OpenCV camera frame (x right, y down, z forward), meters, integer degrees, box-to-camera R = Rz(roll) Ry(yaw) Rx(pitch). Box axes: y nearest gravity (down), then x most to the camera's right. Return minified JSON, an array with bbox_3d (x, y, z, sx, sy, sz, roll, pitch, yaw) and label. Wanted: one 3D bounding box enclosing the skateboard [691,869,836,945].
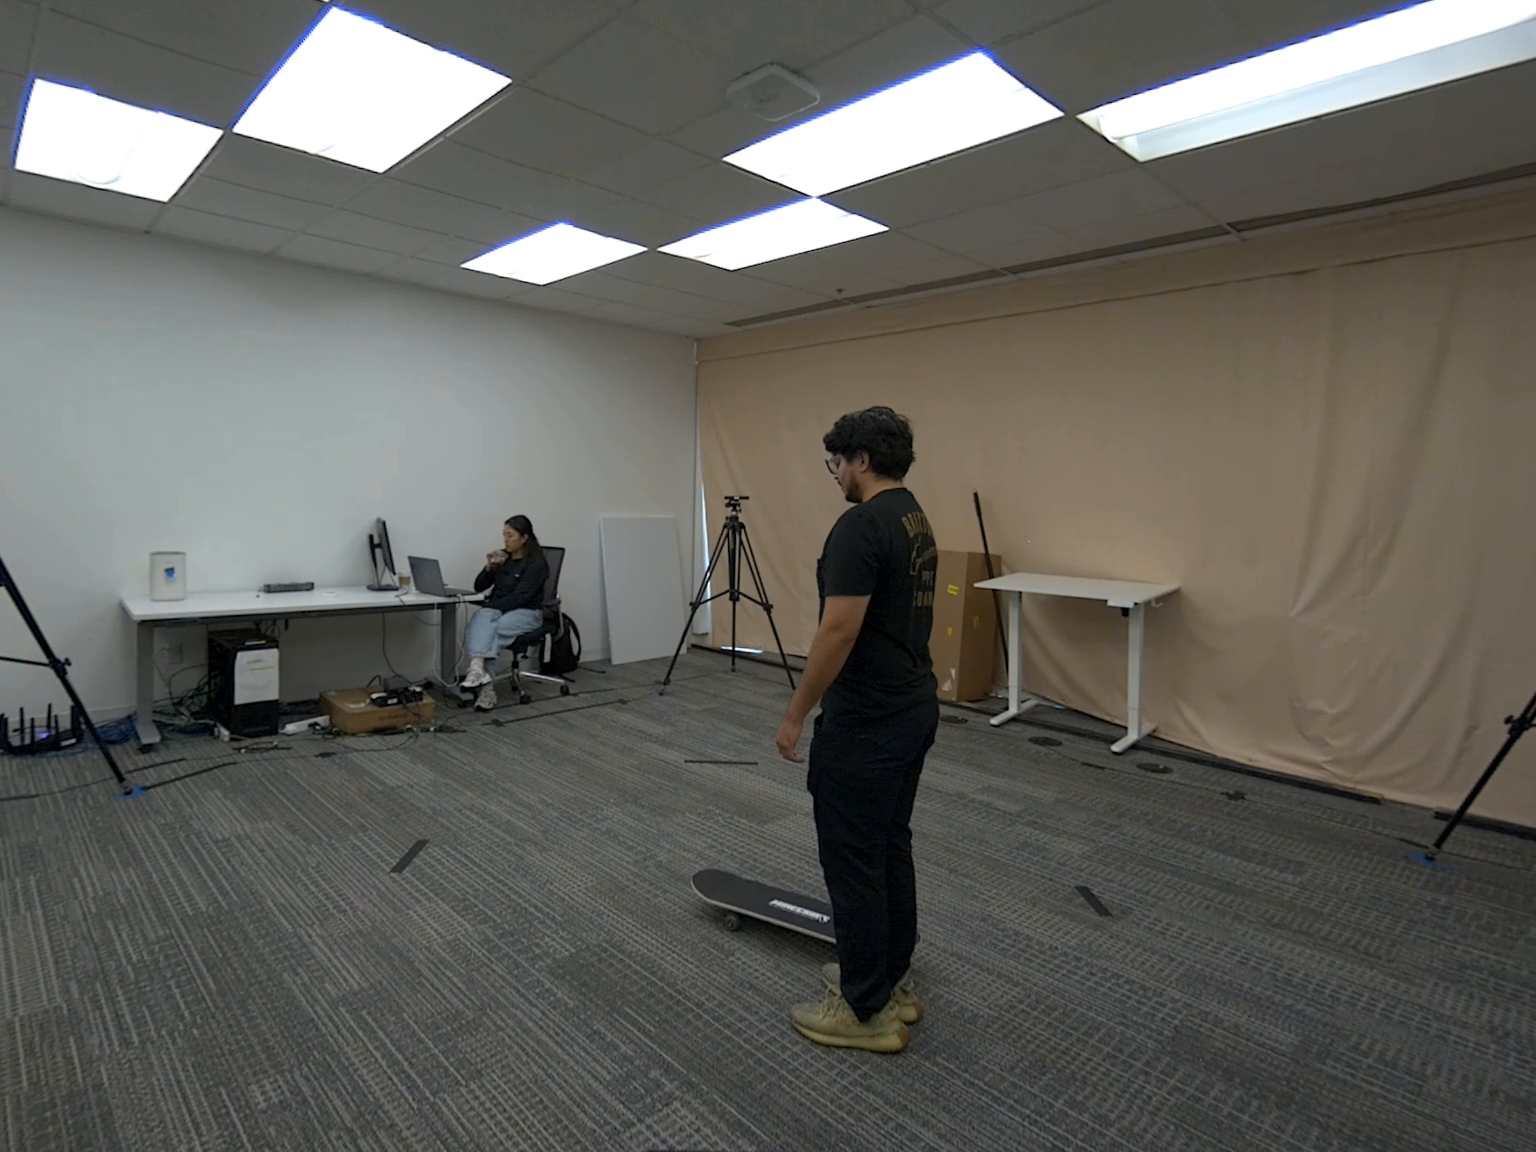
[{"bbox_3d":[0.088,1.093,2.669,0.803,0.110,0.190,5,7,31],"label":"skateboard"}]
